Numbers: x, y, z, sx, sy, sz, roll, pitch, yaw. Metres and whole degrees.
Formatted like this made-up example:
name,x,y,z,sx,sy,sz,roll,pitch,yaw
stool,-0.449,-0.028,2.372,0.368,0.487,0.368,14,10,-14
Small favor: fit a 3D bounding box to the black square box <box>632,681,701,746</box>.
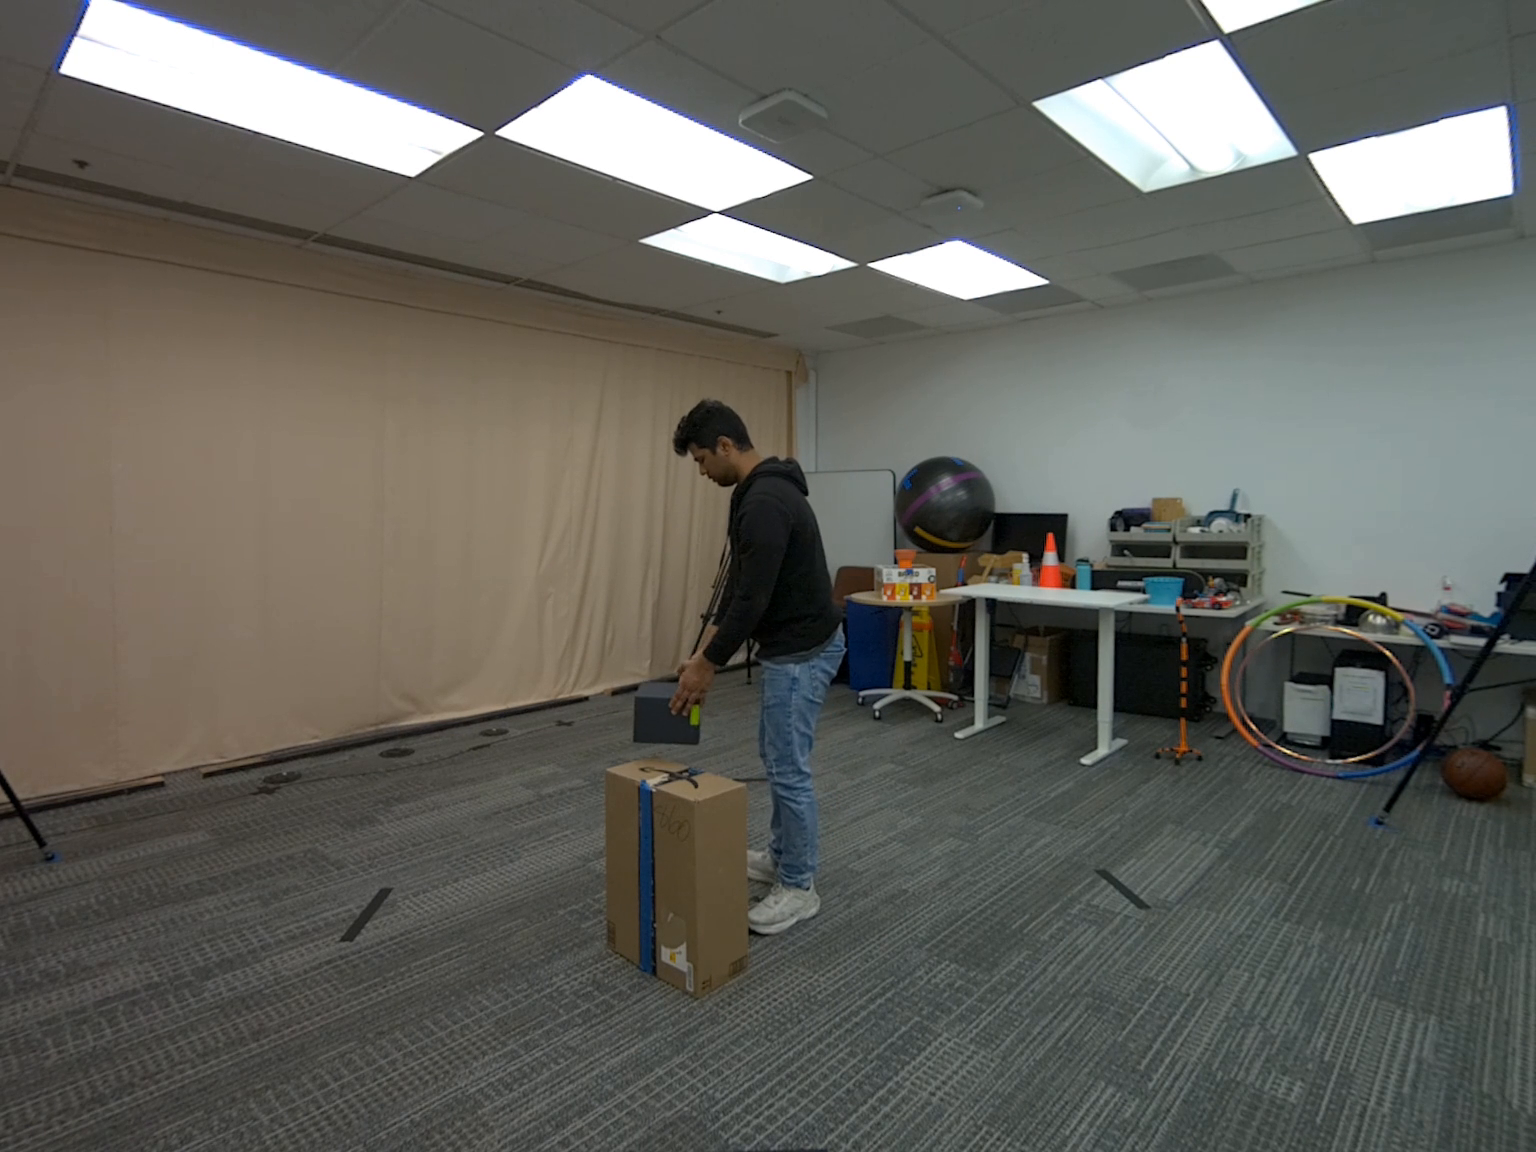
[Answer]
name,x,y,z,sx,sy,sz,roll,pitch,yaw
black square box,-0.327,0.464,2.851,0.216,0.155,0.229,1,5,-3
